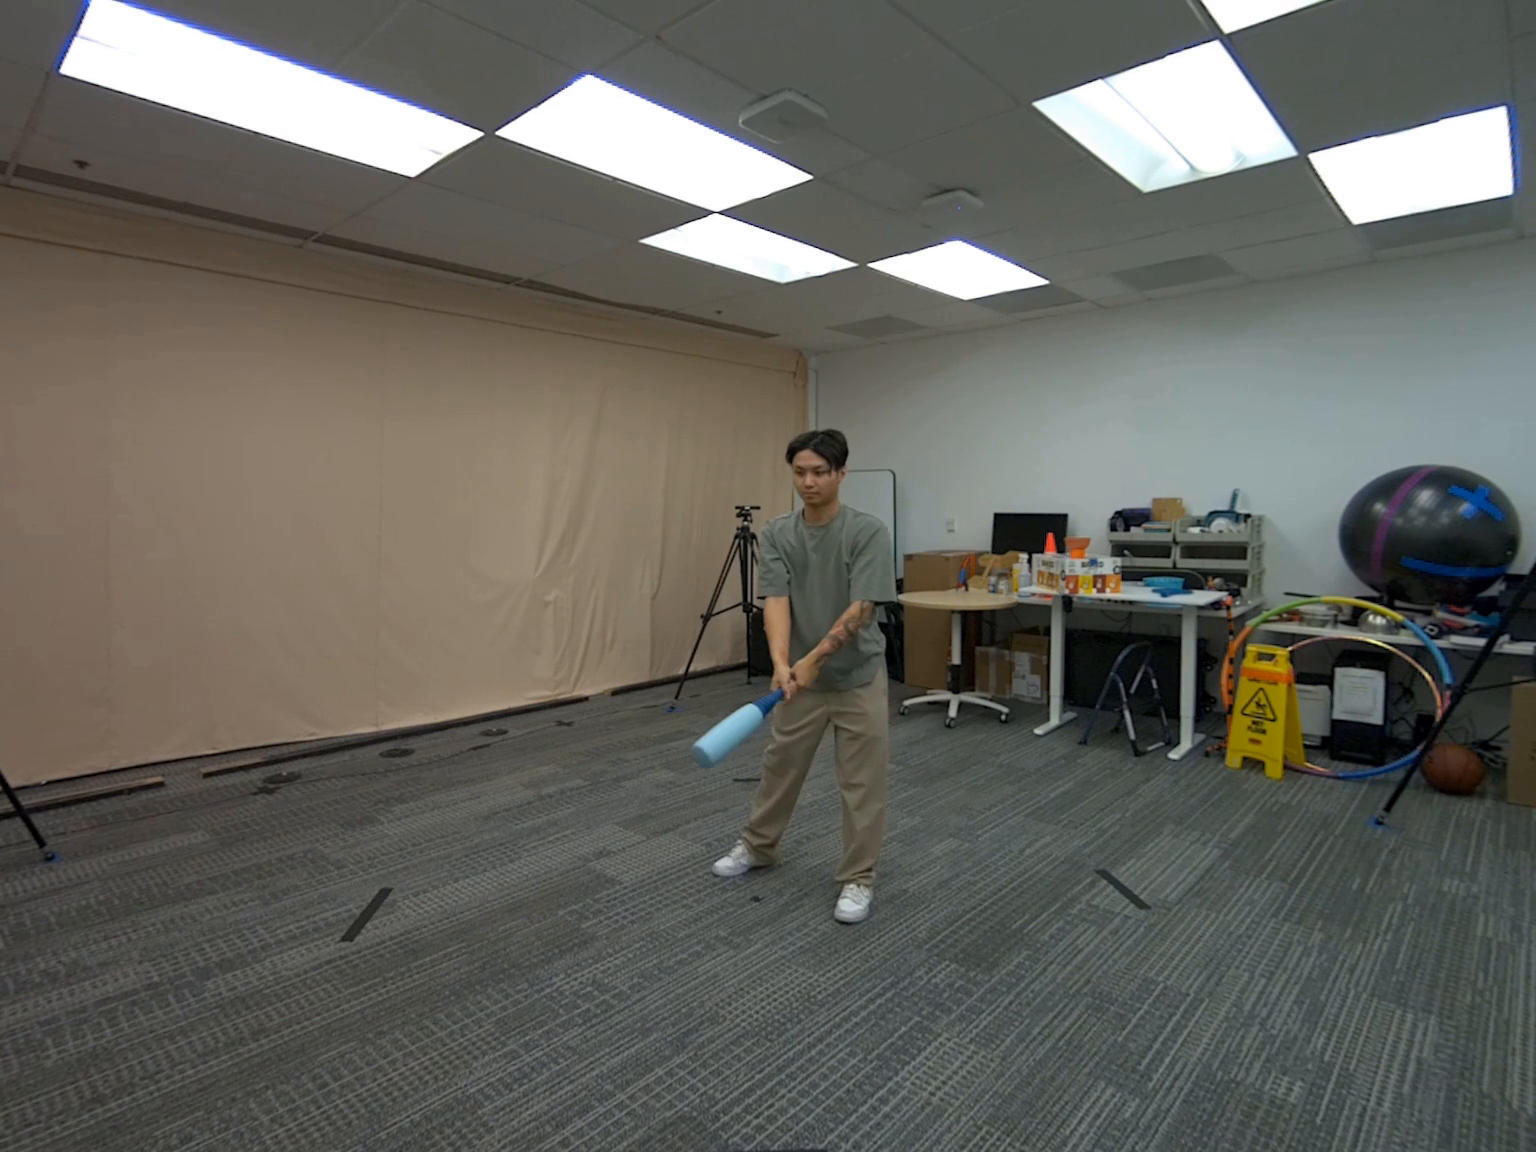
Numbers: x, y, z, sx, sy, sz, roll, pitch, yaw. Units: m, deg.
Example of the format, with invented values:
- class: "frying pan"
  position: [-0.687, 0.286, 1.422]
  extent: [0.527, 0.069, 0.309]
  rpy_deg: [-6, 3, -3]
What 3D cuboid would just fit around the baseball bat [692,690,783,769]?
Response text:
- class: "baseball bat"
  position: [-0.019, 0.411, 2.613]
  extent: [0.092, 0.088, 0.533]
  rpy_deg: [4, 27, 45]
